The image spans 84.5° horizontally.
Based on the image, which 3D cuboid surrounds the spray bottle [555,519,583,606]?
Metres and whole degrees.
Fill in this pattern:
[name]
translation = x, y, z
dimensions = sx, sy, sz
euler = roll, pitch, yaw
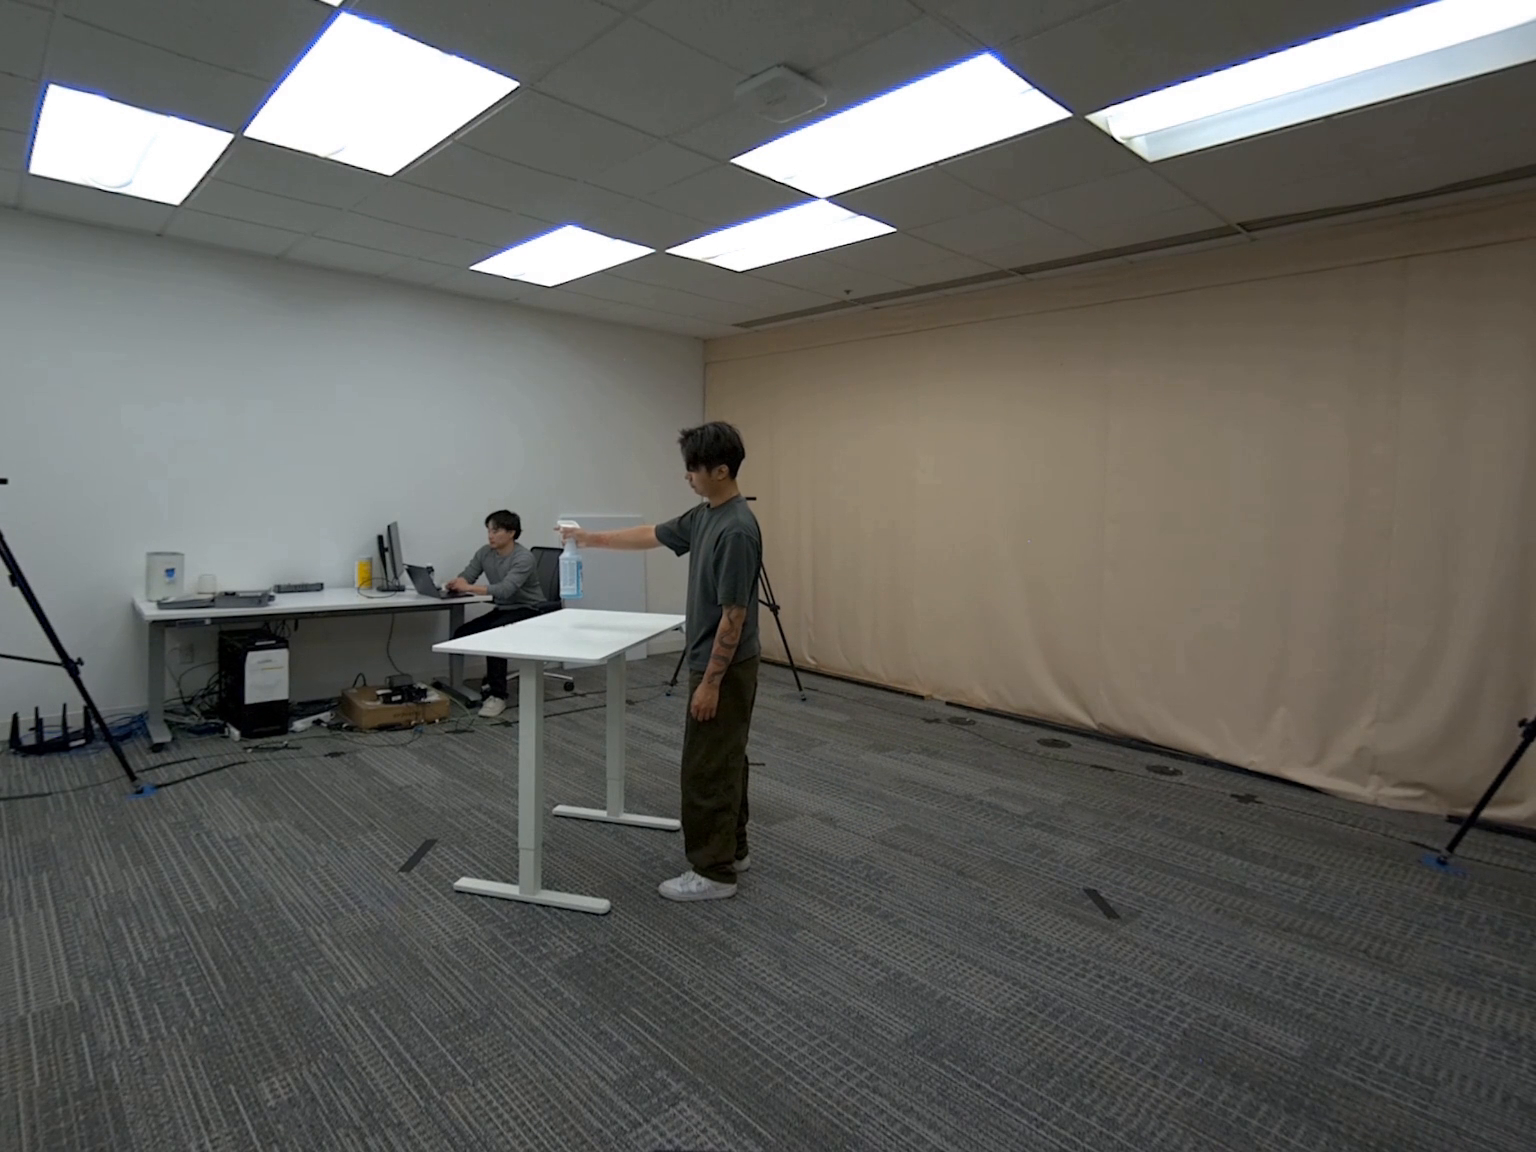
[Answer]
[spray bottle]
translation = -0.763, -0.061, 3.244
dimensions = 0.092, 0.297, 0.085
euler = 3, 4, 40
